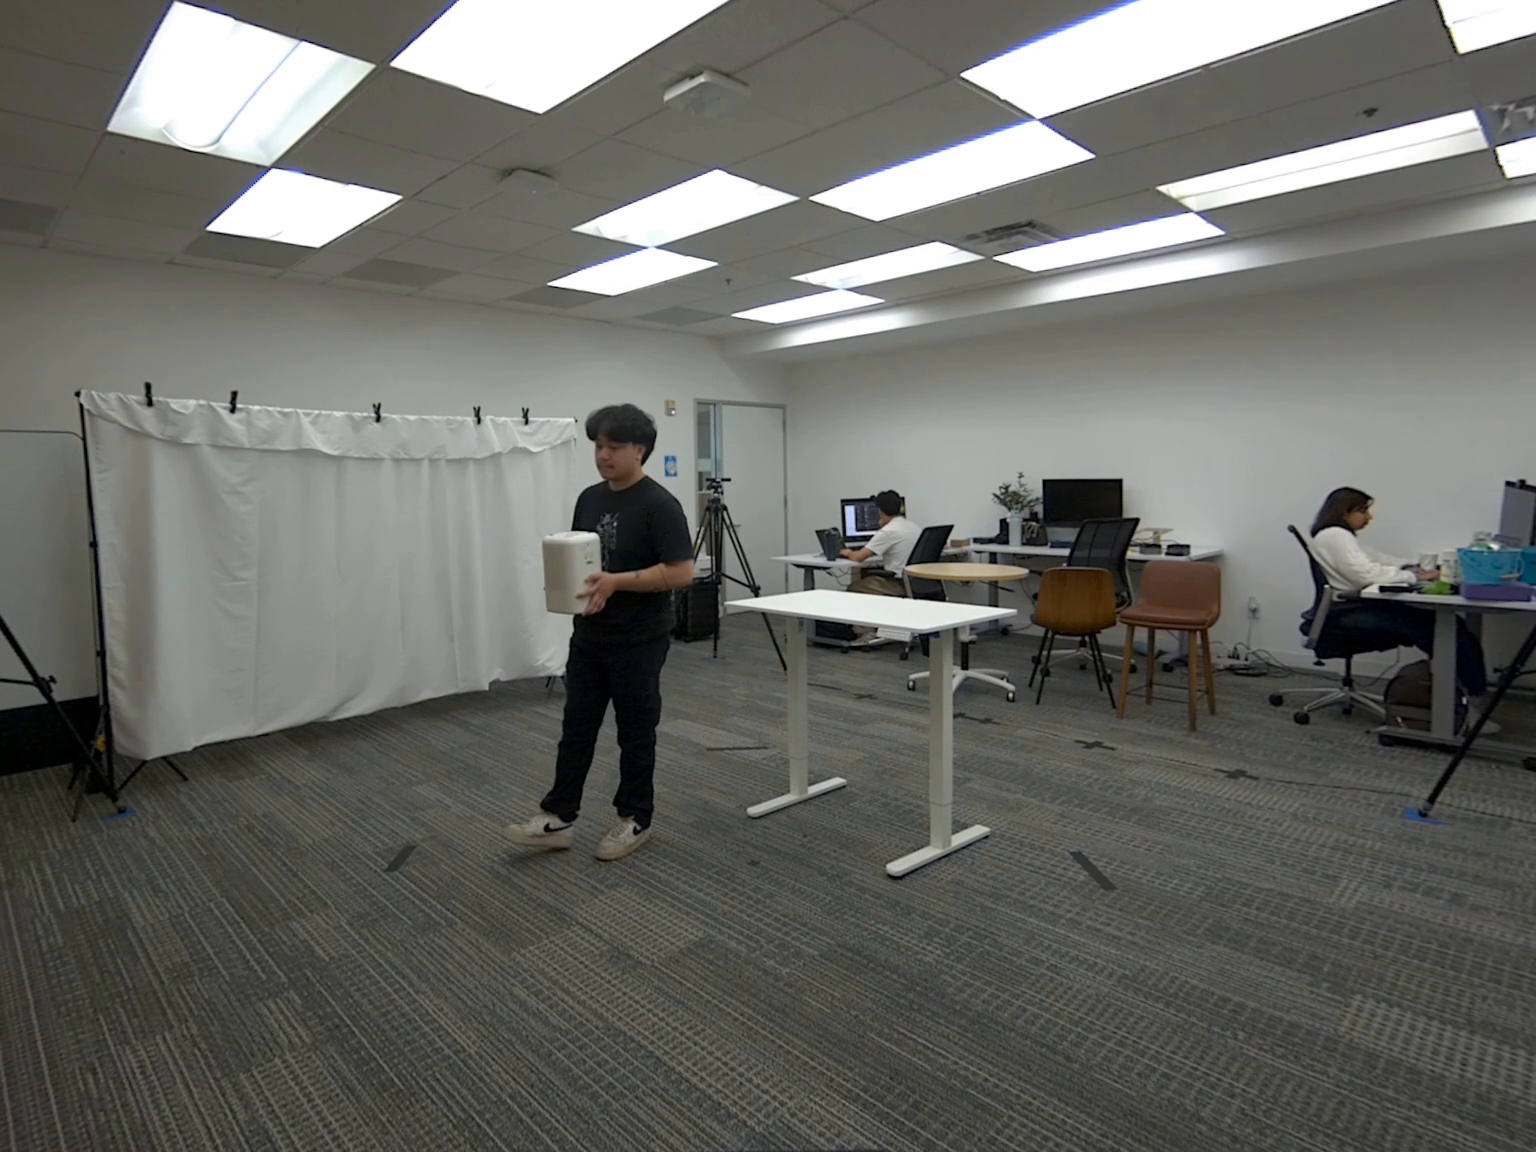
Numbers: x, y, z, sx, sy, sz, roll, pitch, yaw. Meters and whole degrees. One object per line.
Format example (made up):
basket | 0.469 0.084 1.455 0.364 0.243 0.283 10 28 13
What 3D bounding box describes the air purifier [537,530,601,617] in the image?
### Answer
air purifier | -0.667 -0.017 2.981 0.176 0.263 0.167 2 10 37
